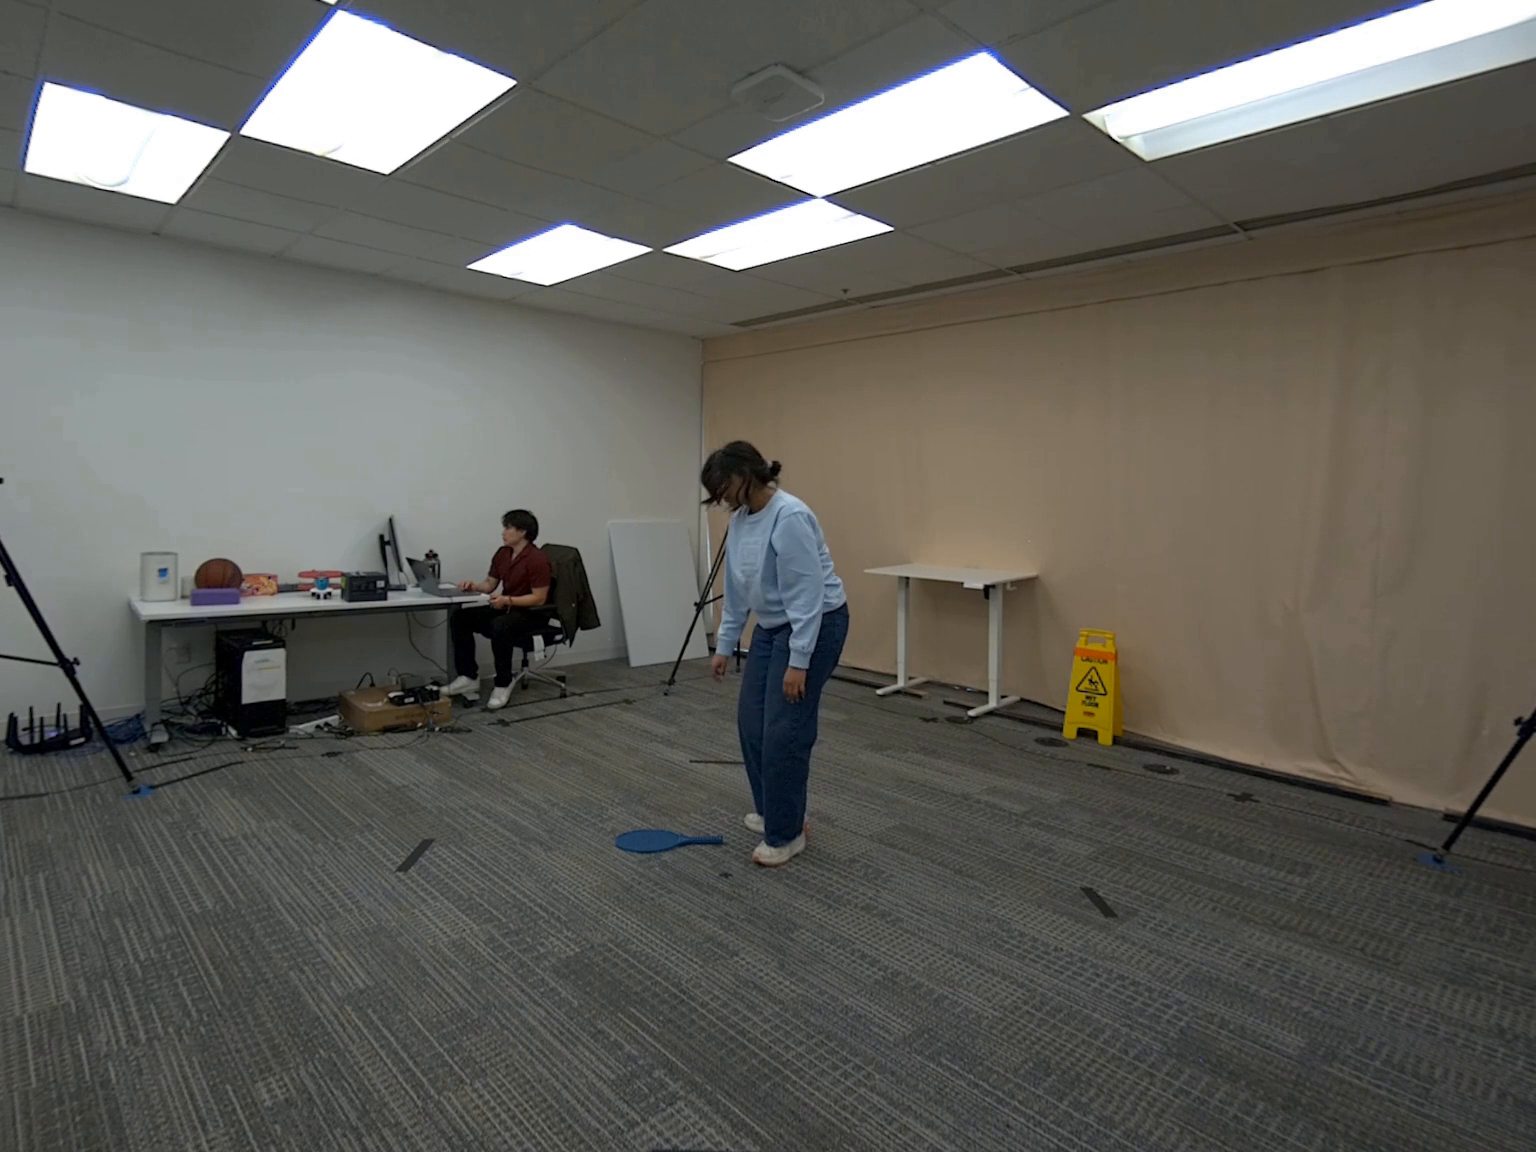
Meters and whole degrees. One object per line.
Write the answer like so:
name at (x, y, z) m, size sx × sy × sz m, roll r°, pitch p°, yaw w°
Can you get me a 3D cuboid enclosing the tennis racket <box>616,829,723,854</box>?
tennis racket at (-0.402, 1.056, 3.382) m, size 0.433 × 0.031 × 0.214 m, roll 0°, pitch 6°, yaw 1°
